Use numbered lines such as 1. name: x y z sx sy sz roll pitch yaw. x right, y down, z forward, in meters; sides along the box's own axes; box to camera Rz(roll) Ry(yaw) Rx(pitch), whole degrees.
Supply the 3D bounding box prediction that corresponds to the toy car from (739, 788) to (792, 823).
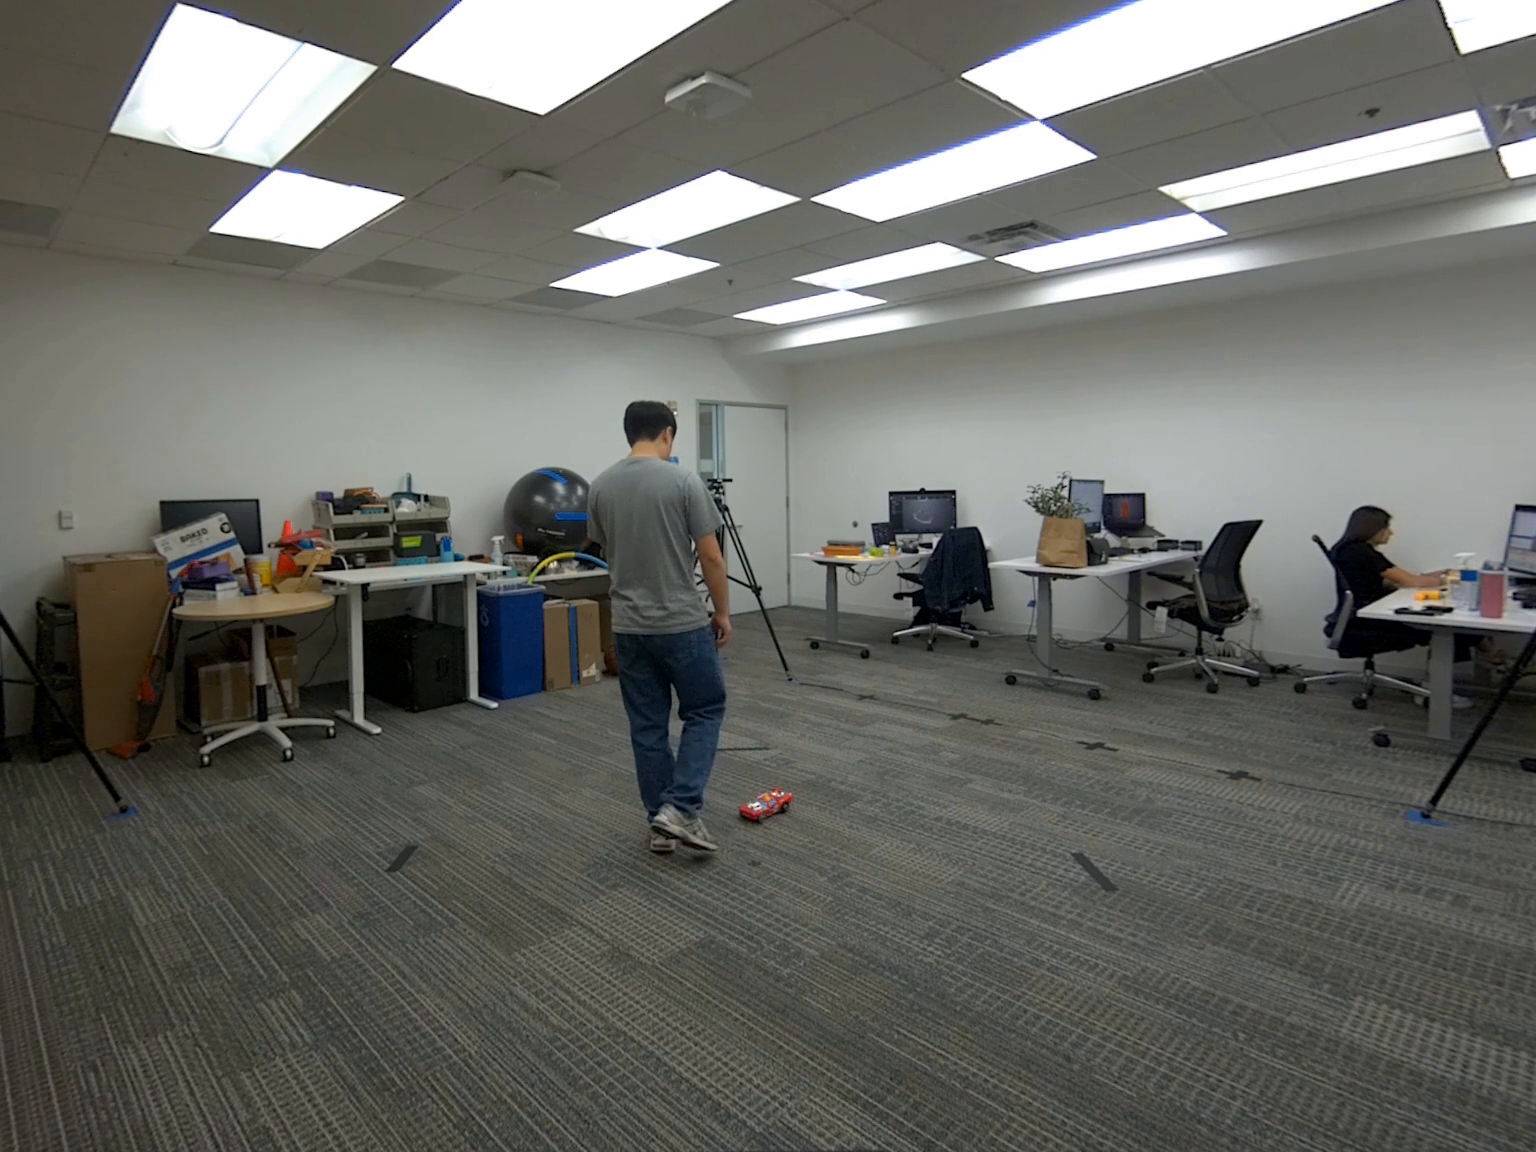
1. toy car: 0.003 0.958 3.573 0.134 0.082 0.250 5 20 44
